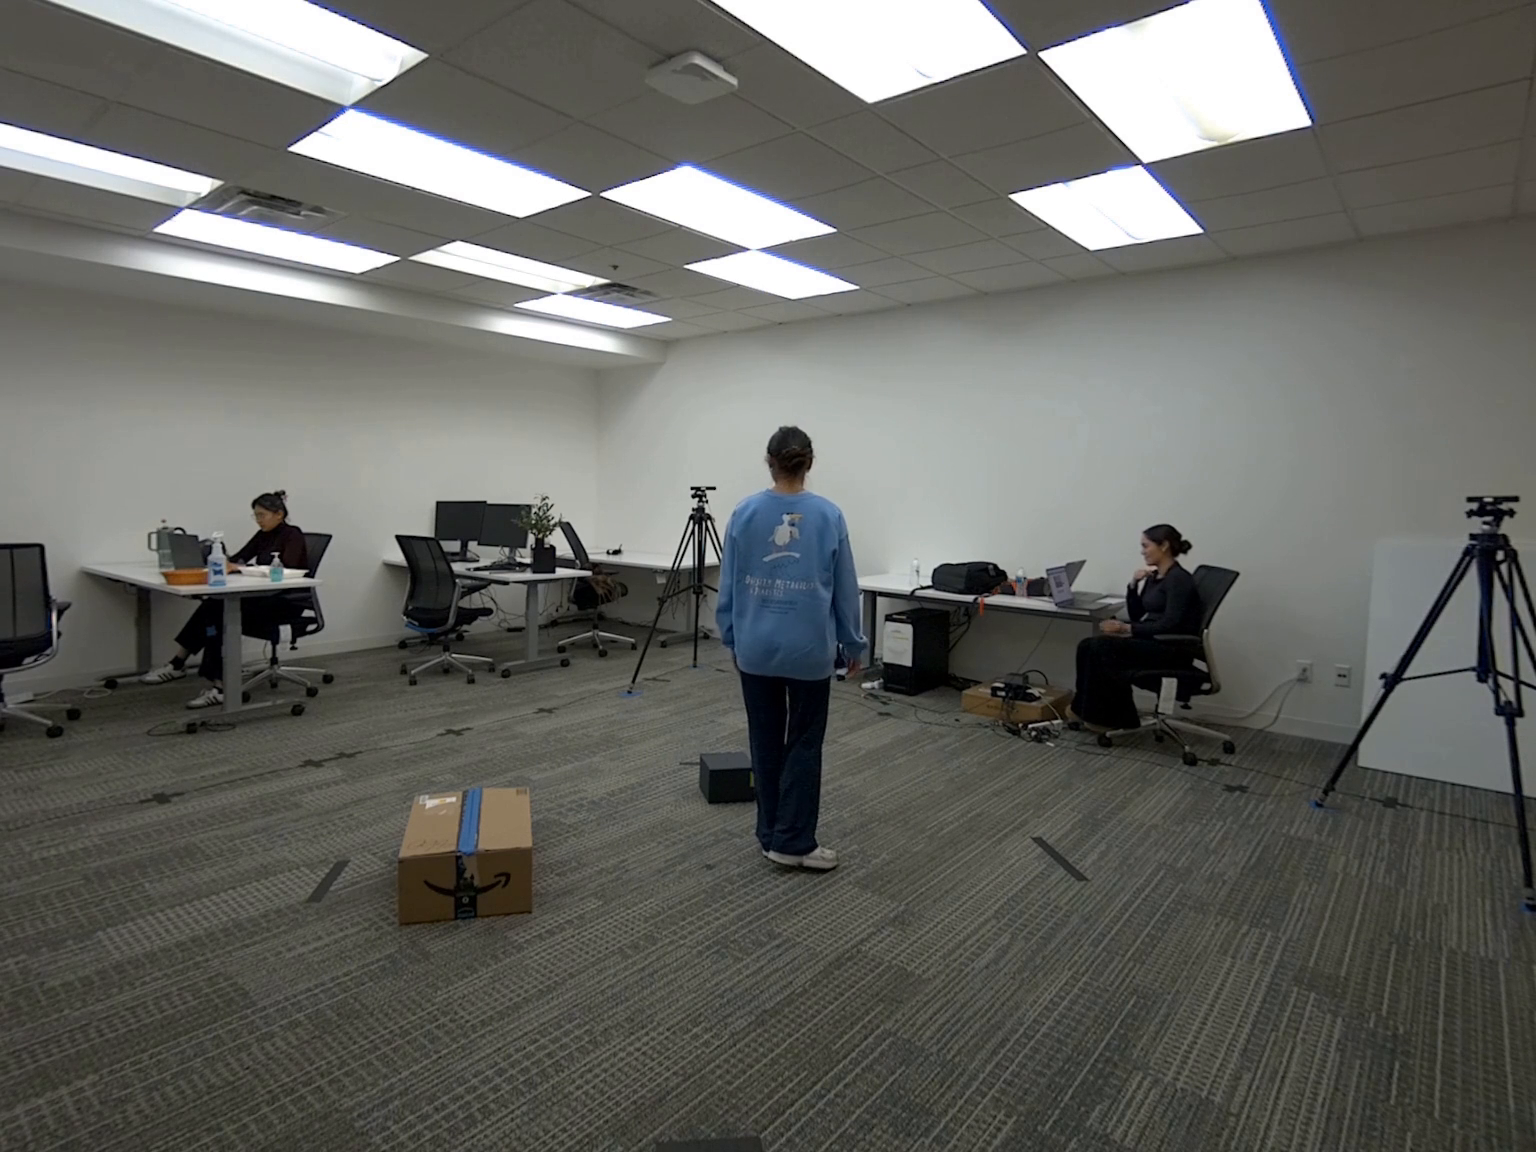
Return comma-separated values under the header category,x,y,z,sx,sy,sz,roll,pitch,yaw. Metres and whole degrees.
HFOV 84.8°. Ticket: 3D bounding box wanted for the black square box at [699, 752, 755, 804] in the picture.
category,x,y,z,sx,sy,sz,roll,pitch,yaw
black square box,-0.196,0.906,3.865,0.214,0.155,0.232,-1,5,-14
